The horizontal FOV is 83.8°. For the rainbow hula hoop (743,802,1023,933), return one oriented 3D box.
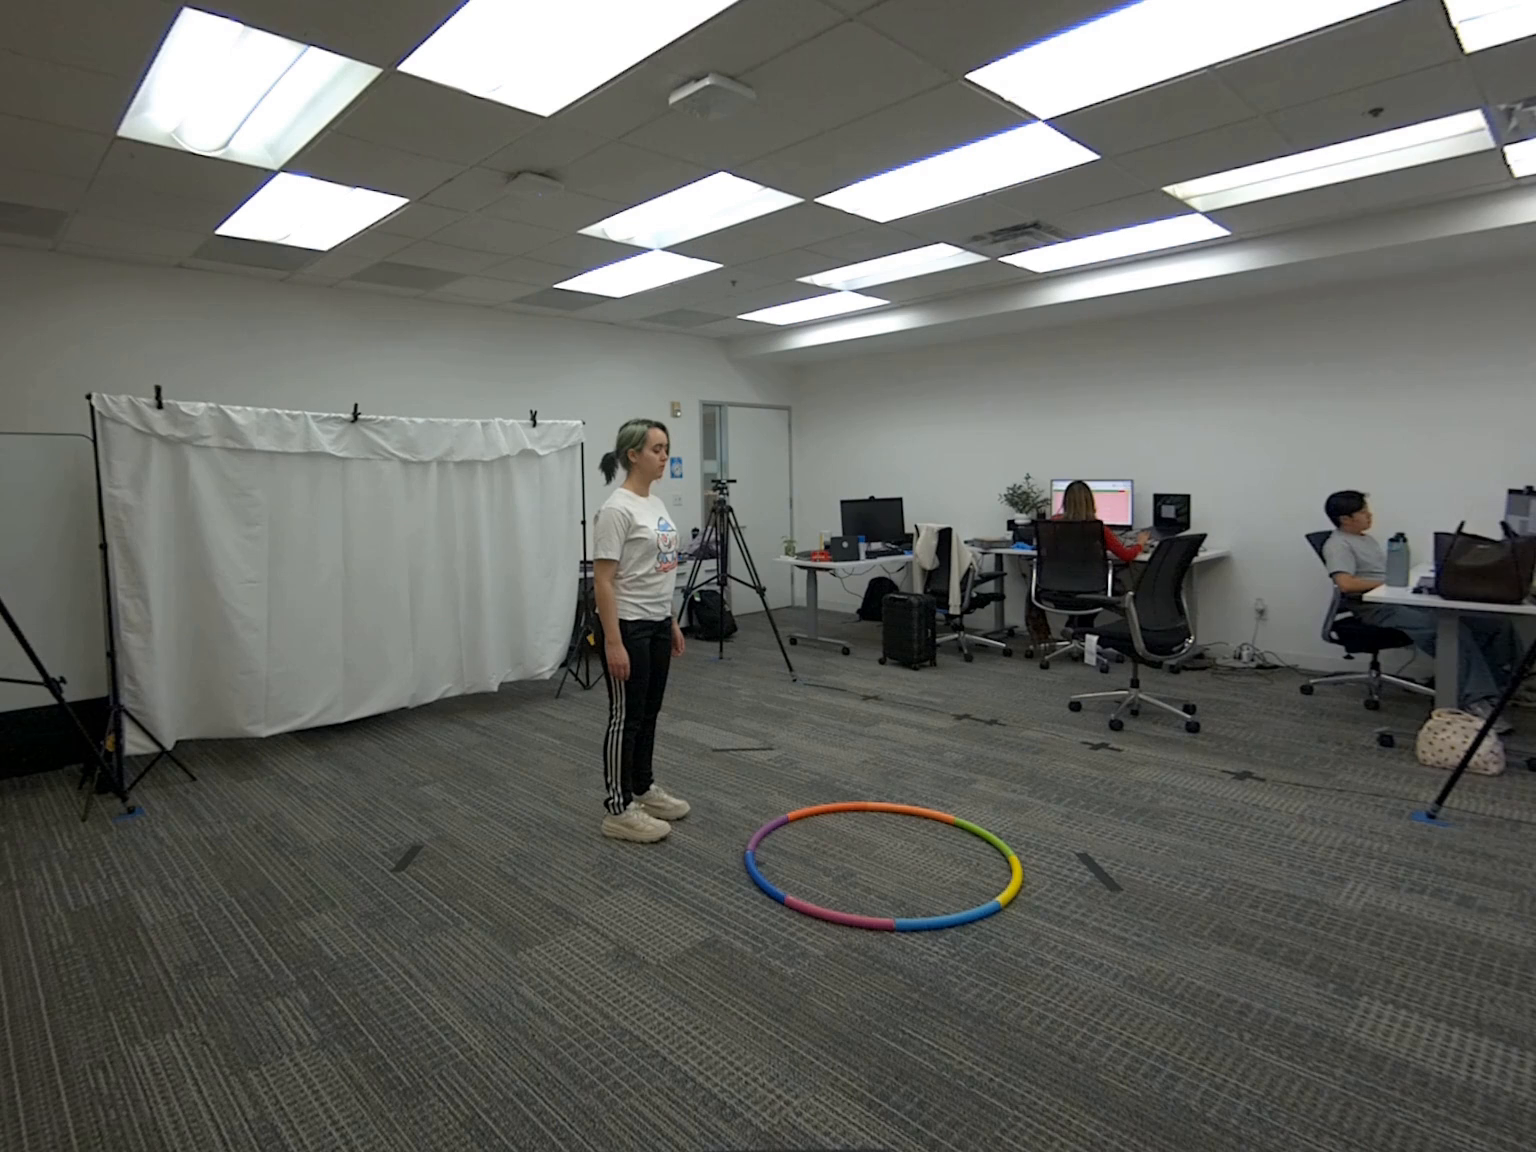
[{"bbox_3d":[0.398,1.007,3.112,0.978,0.035,0.984,-2,6,-2],"label":"rainbow hula hoop"}]
